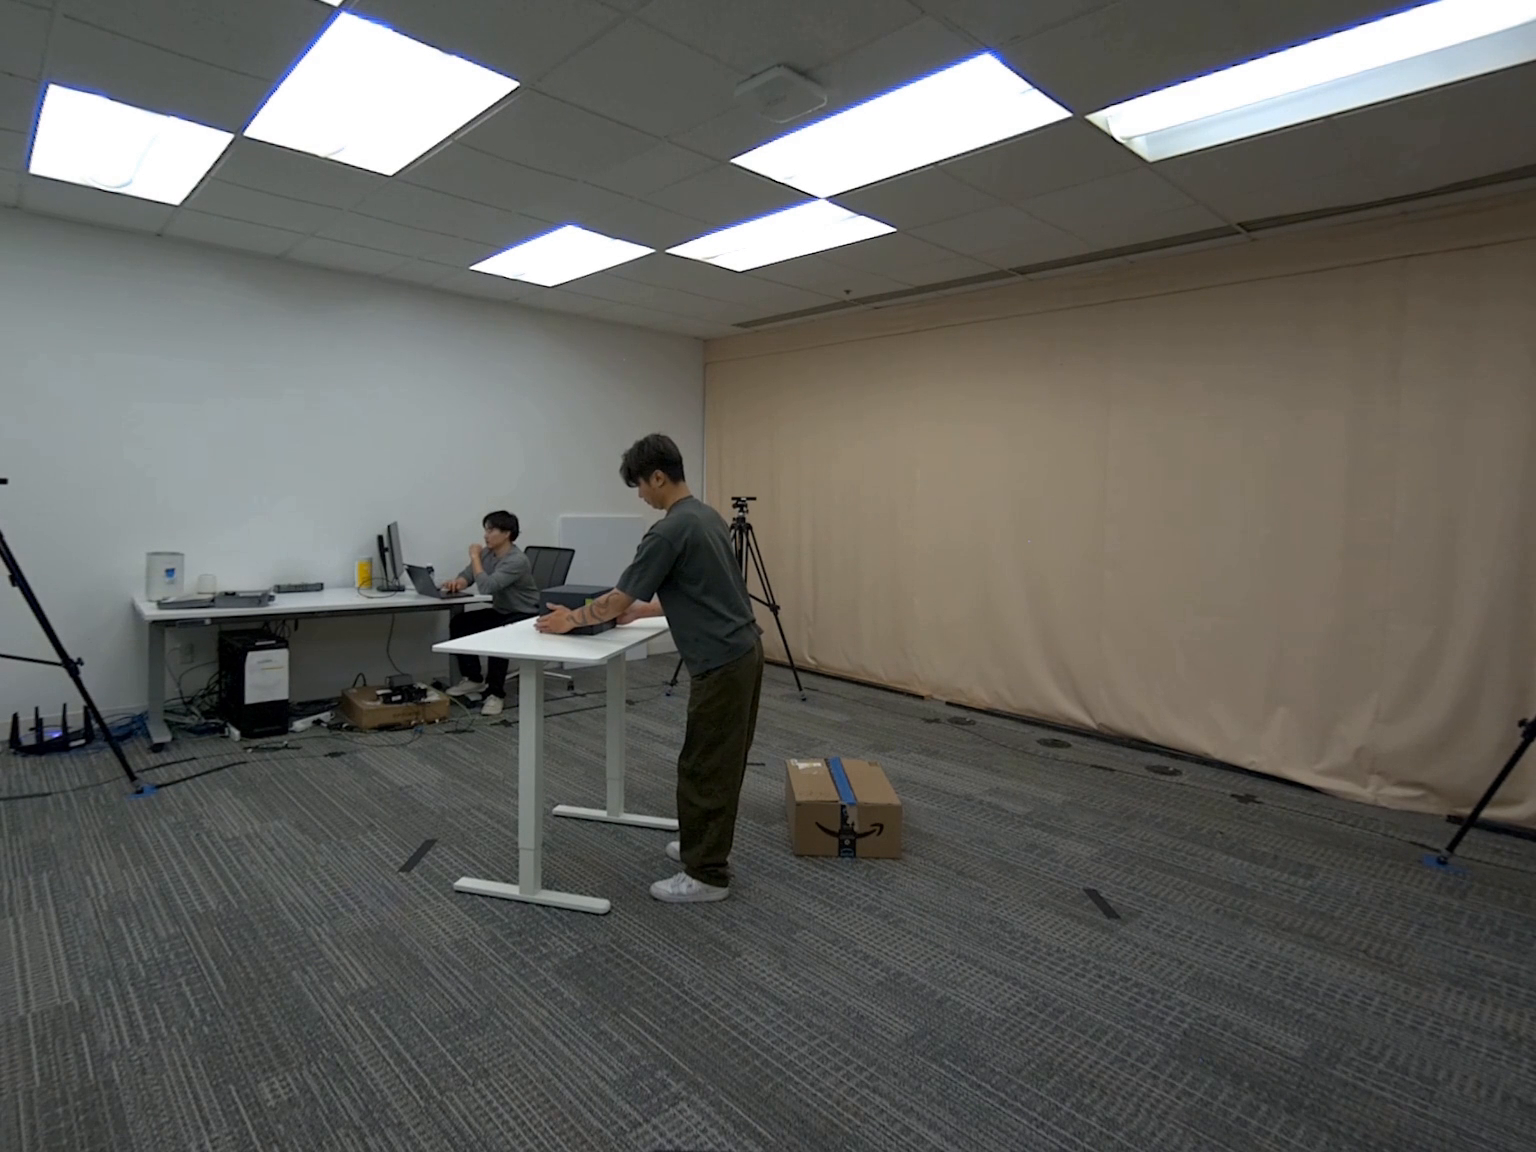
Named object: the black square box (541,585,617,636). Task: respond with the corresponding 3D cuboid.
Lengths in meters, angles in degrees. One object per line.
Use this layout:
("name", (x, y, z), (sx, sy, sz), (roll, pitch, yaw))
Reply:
("black square box", (-0.729, 0.123, 3.196), (0.220, 0.155, 0.226), (3, 6, 14))
